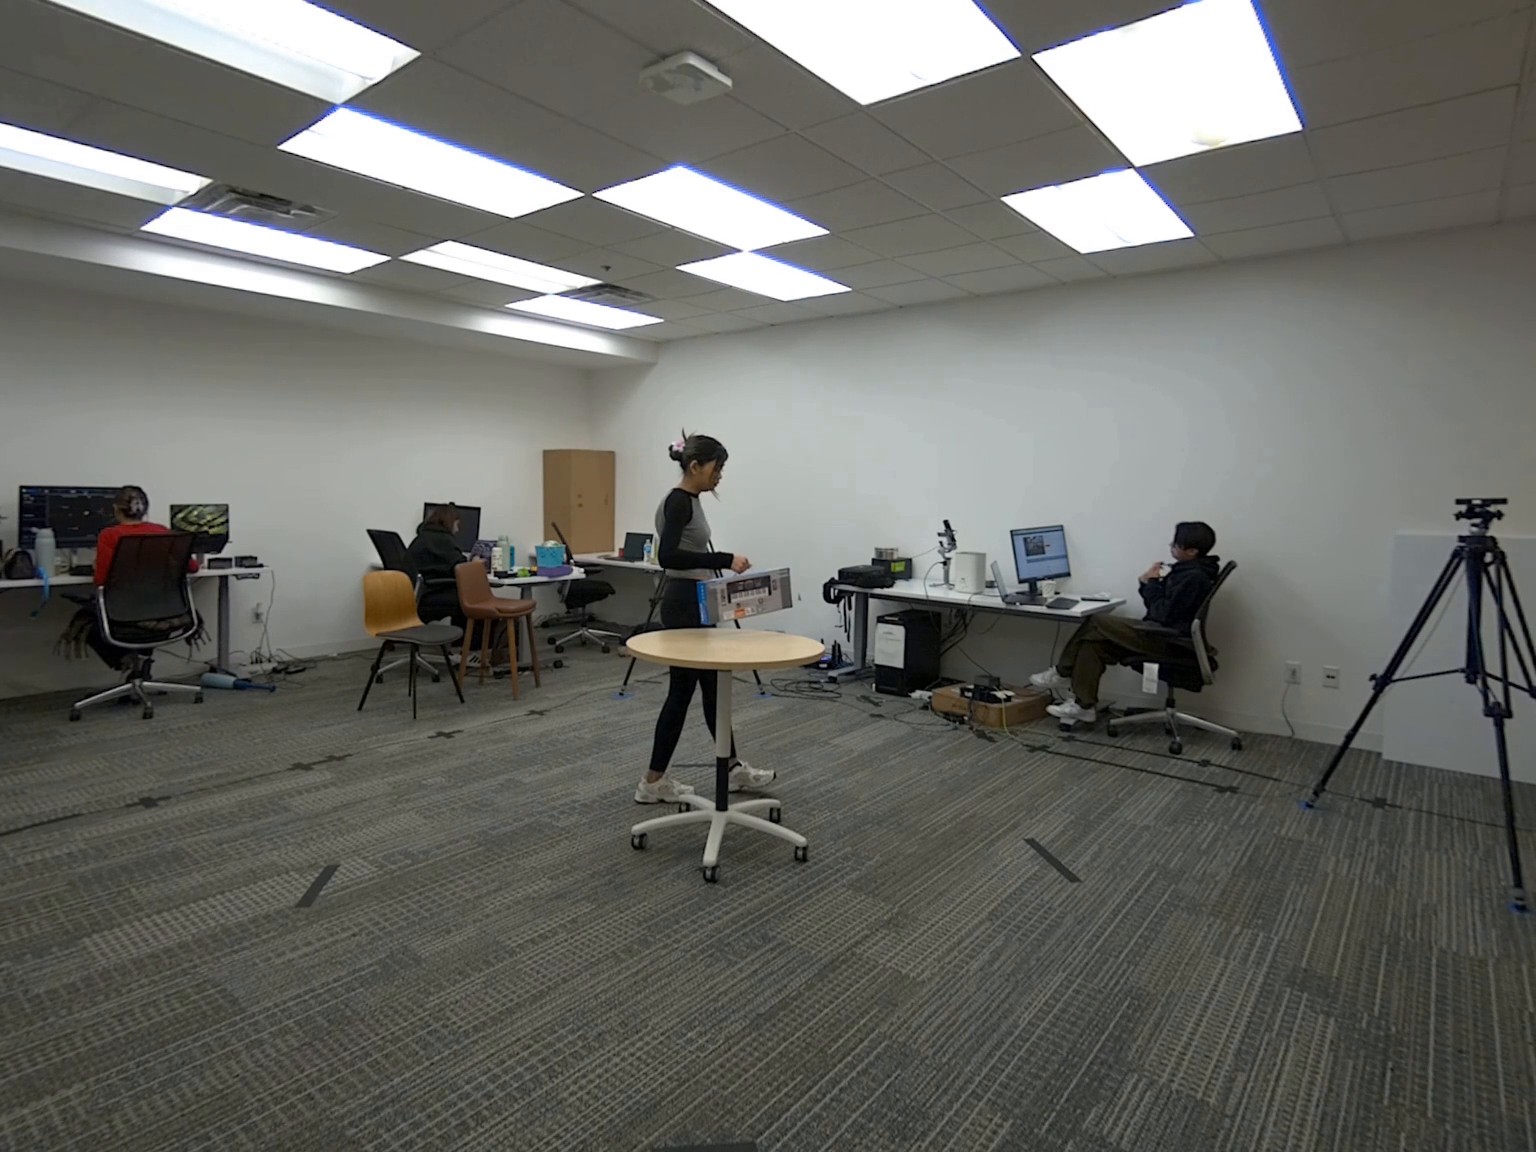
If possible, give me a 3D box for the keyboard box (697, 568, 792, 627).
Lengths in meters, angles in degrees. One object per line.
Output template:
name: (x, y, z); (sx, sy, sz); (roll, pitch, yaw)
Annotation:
keyboard box: (-0.100, 0.078, 3.530); (0.426, 0.175, 0.061); (-10, 6, -34)
